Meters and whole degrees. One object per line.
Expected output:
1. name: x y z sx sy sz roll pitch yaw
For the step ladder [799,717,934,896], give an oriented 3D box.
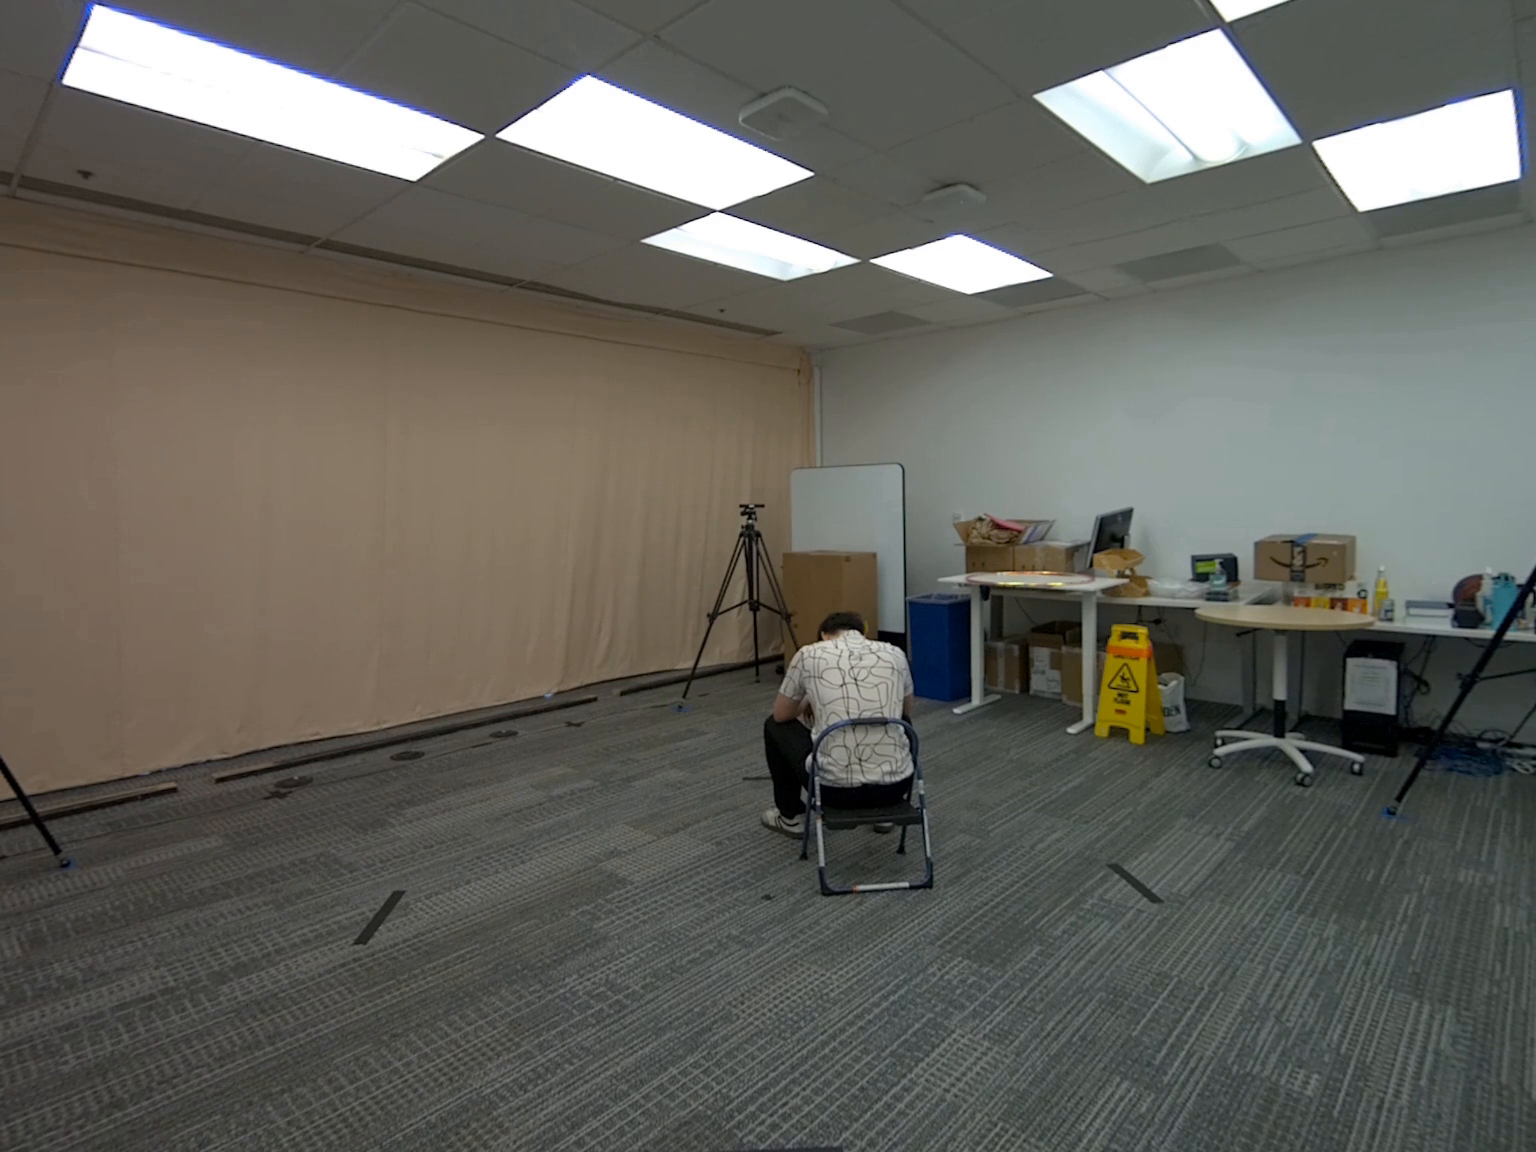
1. step ladder: 0.362 0.817 3.157 0.427 0.605 0.353 -1 3 -9
